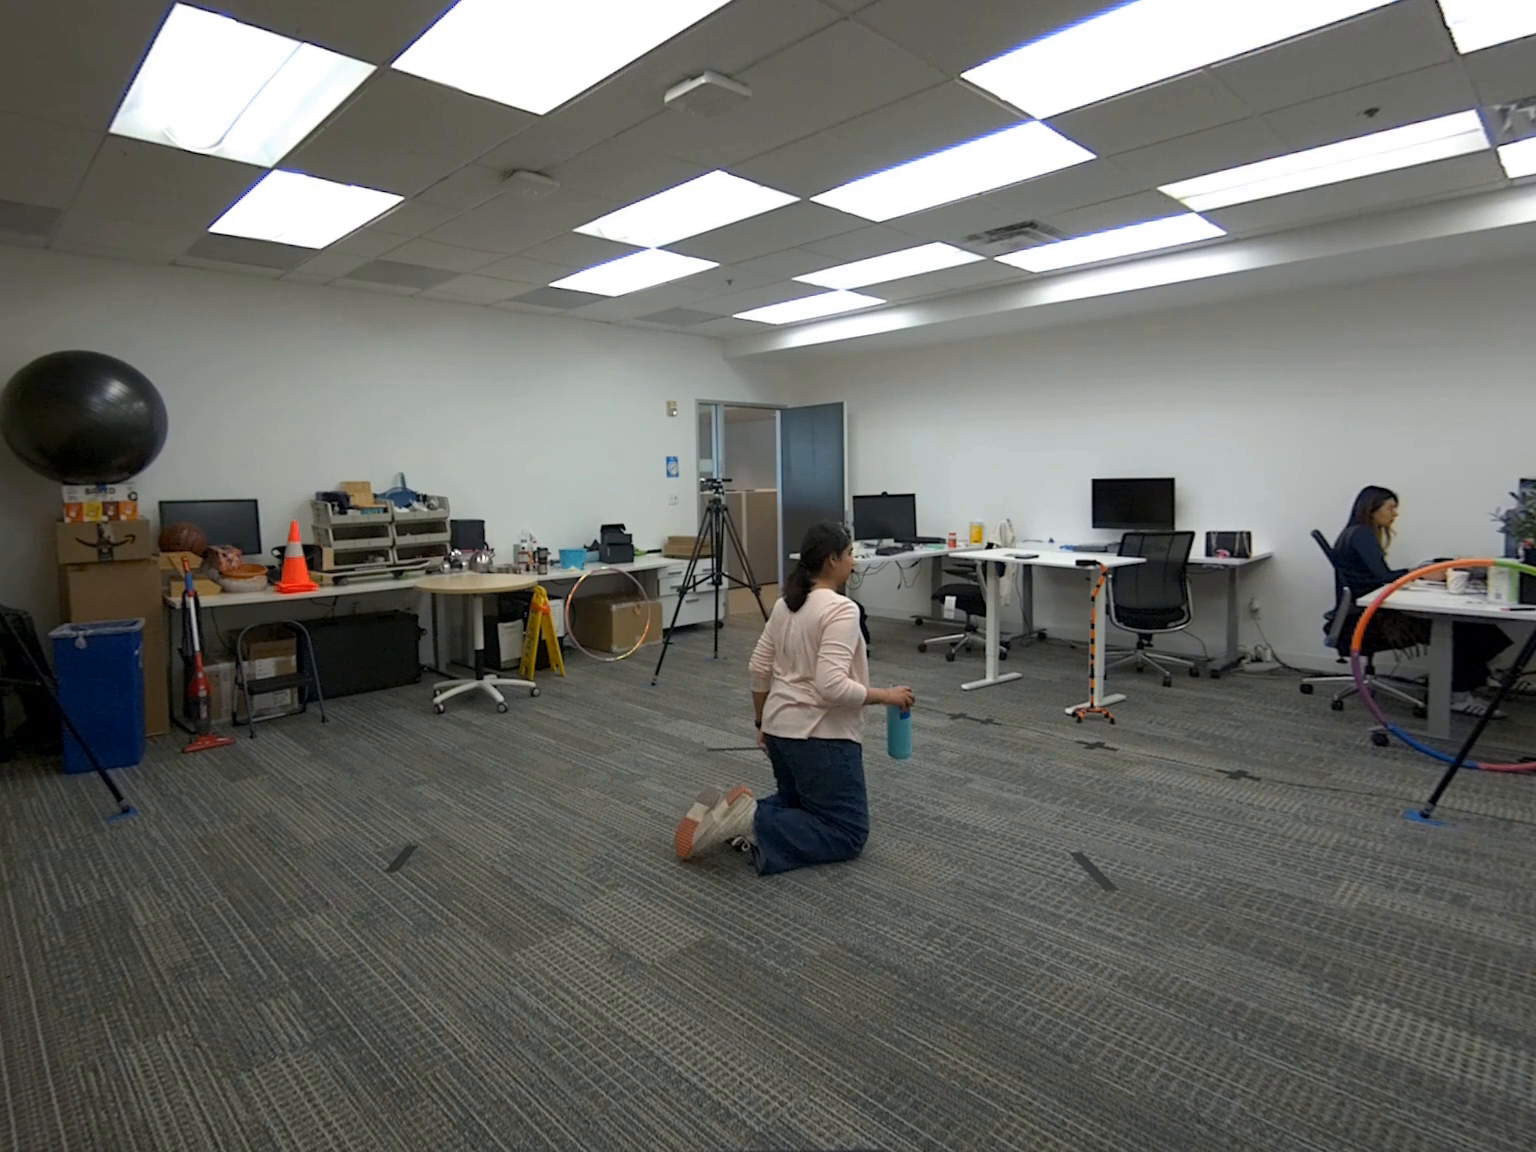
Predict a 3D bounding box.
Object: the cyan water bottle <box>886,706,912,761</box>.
[{"bbox_3d":[0.482,0.542,3.191,0.092,0.278,0.094,-3,19,-1],"label":"cyan water bottle"}]
